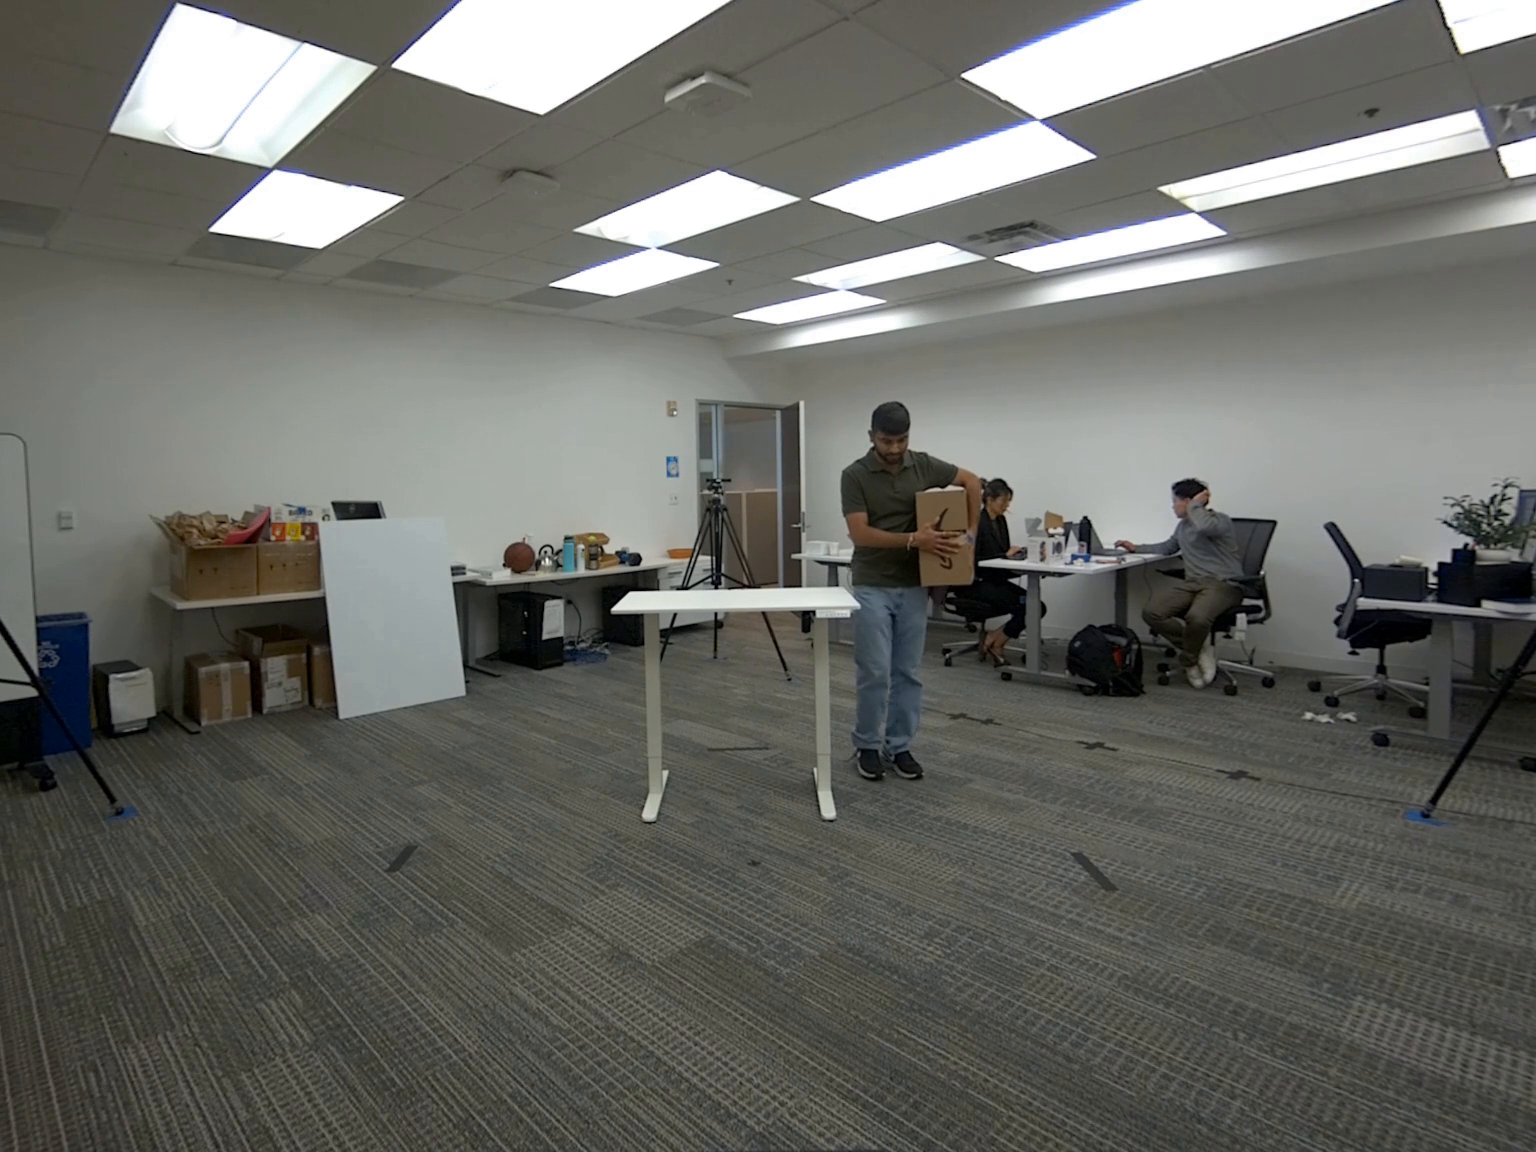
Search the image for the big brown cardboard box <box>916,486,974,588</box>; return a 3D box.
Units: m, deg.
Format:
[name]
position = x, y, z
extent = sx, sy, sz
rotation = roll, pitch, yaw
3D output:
[big brown cardboard box]
position = 0.823, -0.186, 3.998
extent = 0.236, 0.416, 0.582
rotation = -3, 4, 14
